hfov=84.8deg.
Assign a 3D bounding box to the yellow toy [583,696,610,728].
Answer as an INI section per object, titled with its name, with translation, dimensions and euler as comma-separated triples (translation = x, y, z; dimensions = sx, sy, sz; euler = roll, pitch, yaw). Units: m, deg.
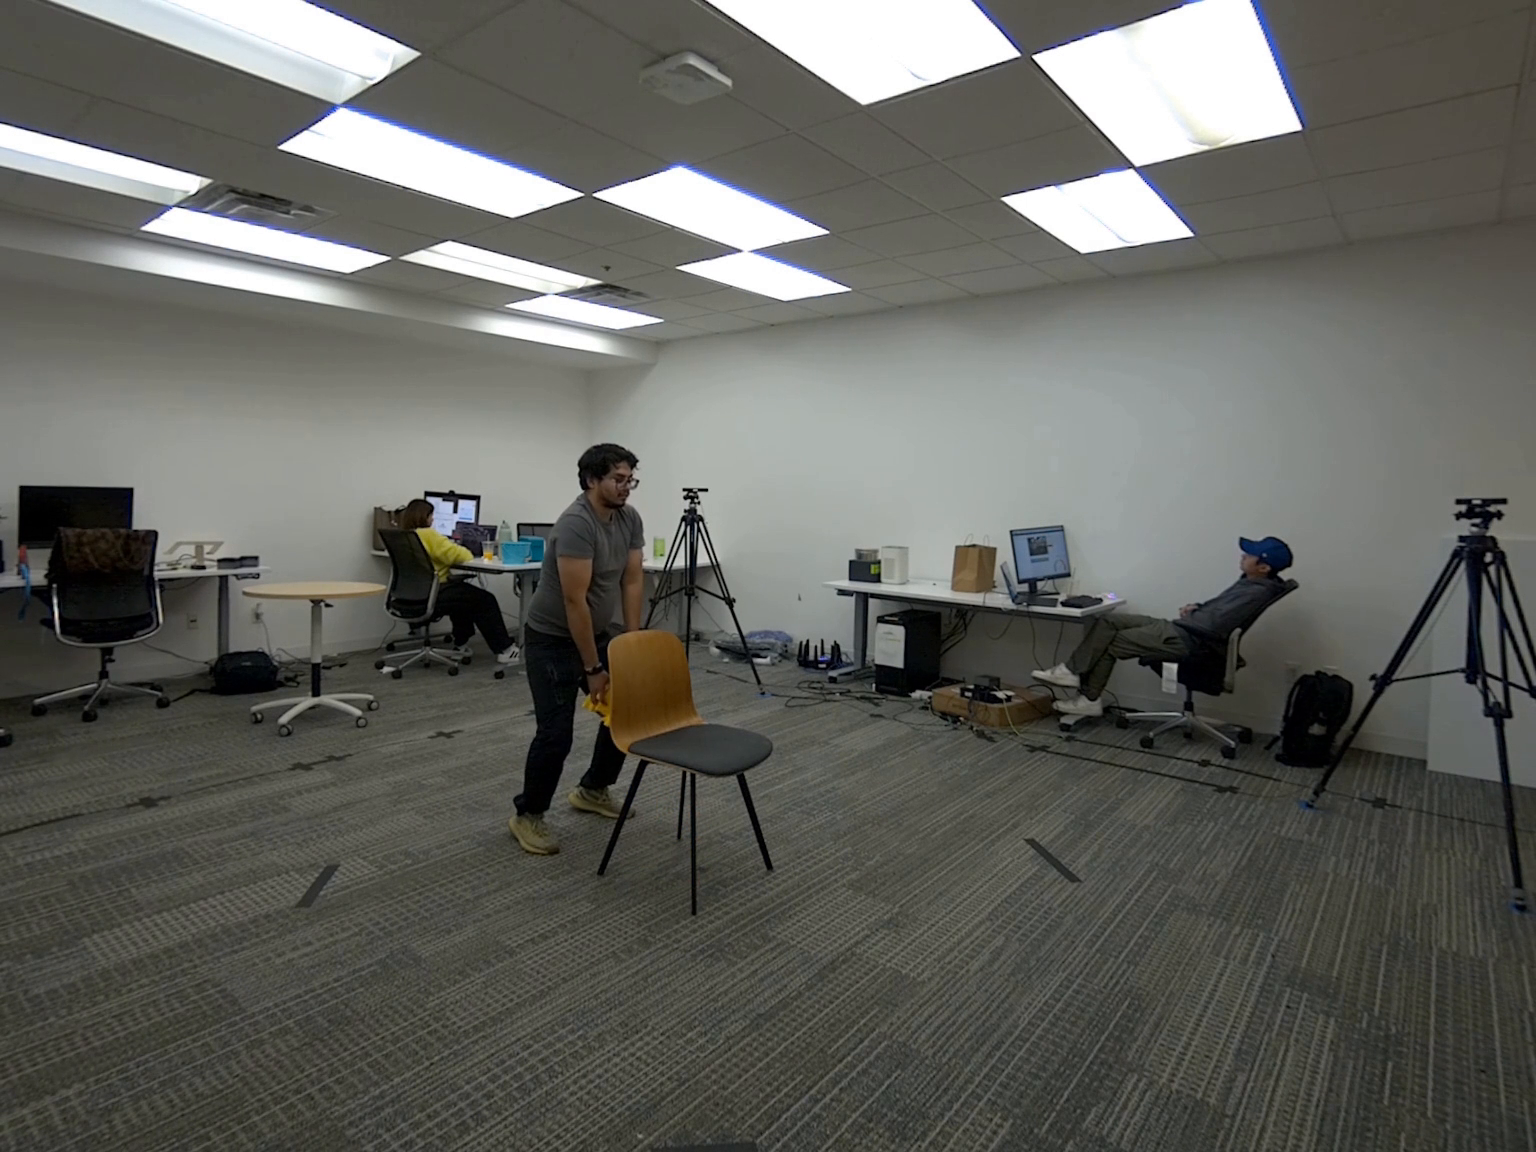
[yellow toy]
translation = -0.573, 0.446, 3.271
dimensions = 0.212, 0.230, 0.186
euler = 29, 2, 27
